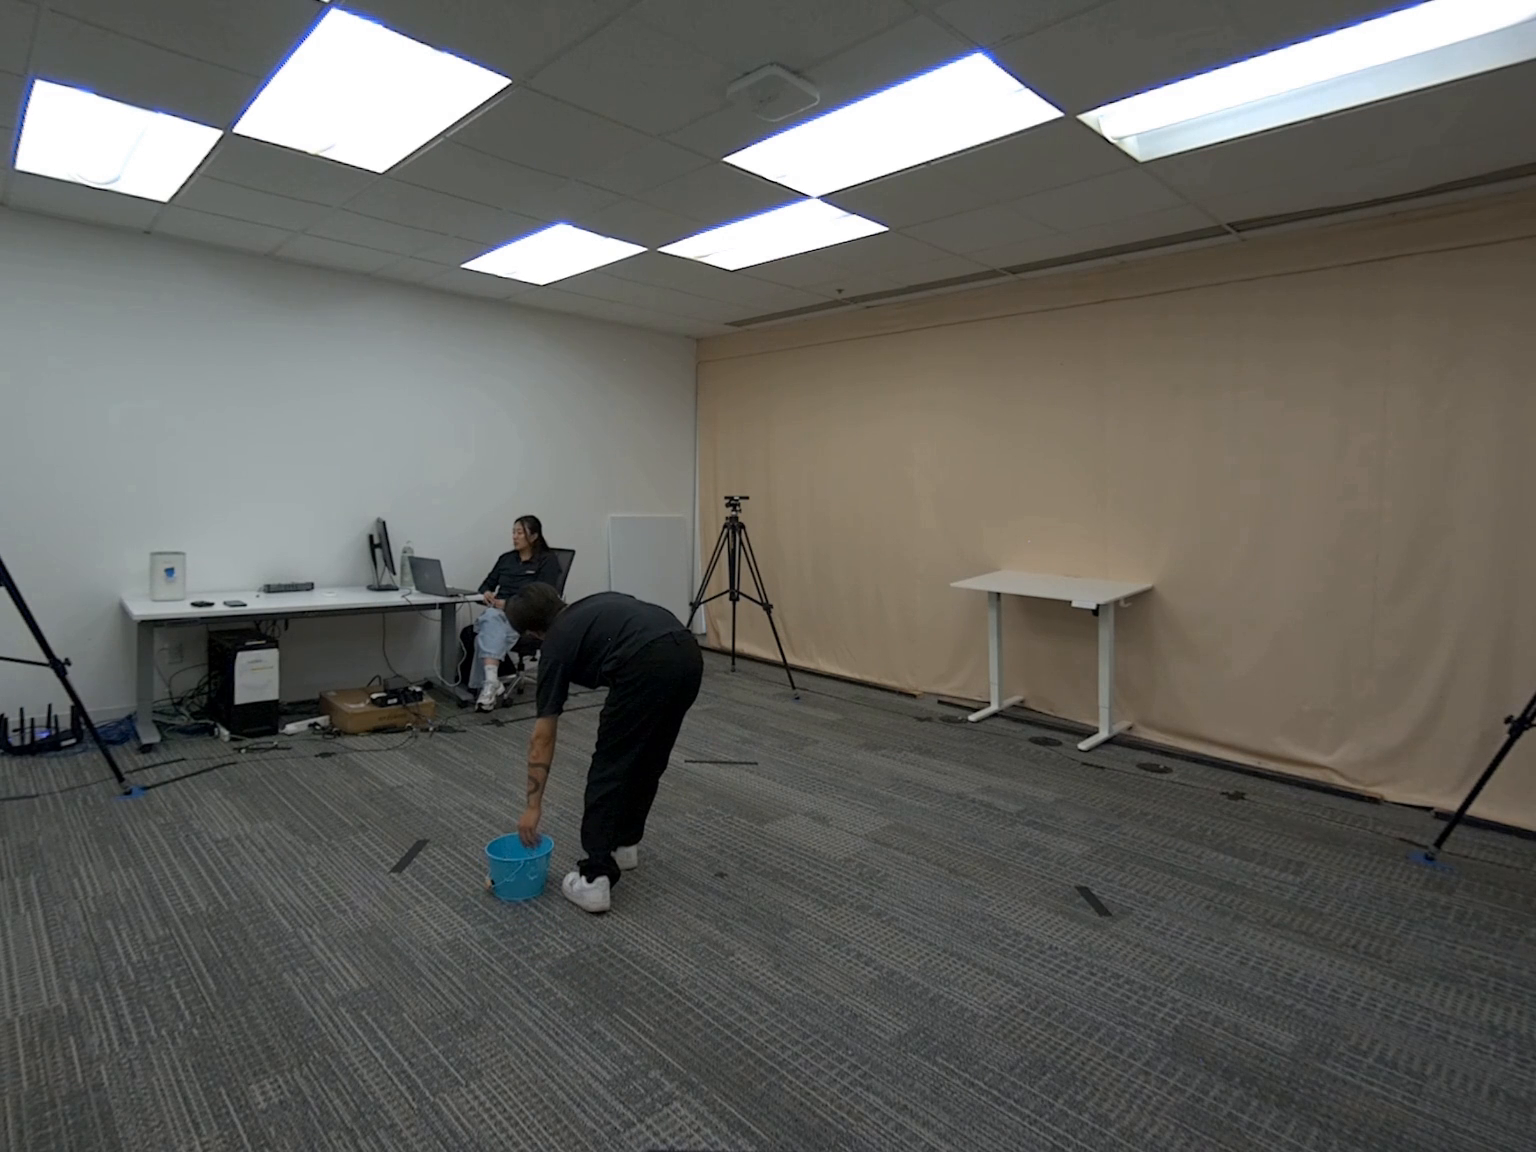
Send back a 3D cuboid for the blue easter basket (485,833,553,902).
[{"bbox_3d":[-0.870,1.019,2.954,0.243,0.155,0.245,1,6,-1],"label":"blue easter basket"}]
